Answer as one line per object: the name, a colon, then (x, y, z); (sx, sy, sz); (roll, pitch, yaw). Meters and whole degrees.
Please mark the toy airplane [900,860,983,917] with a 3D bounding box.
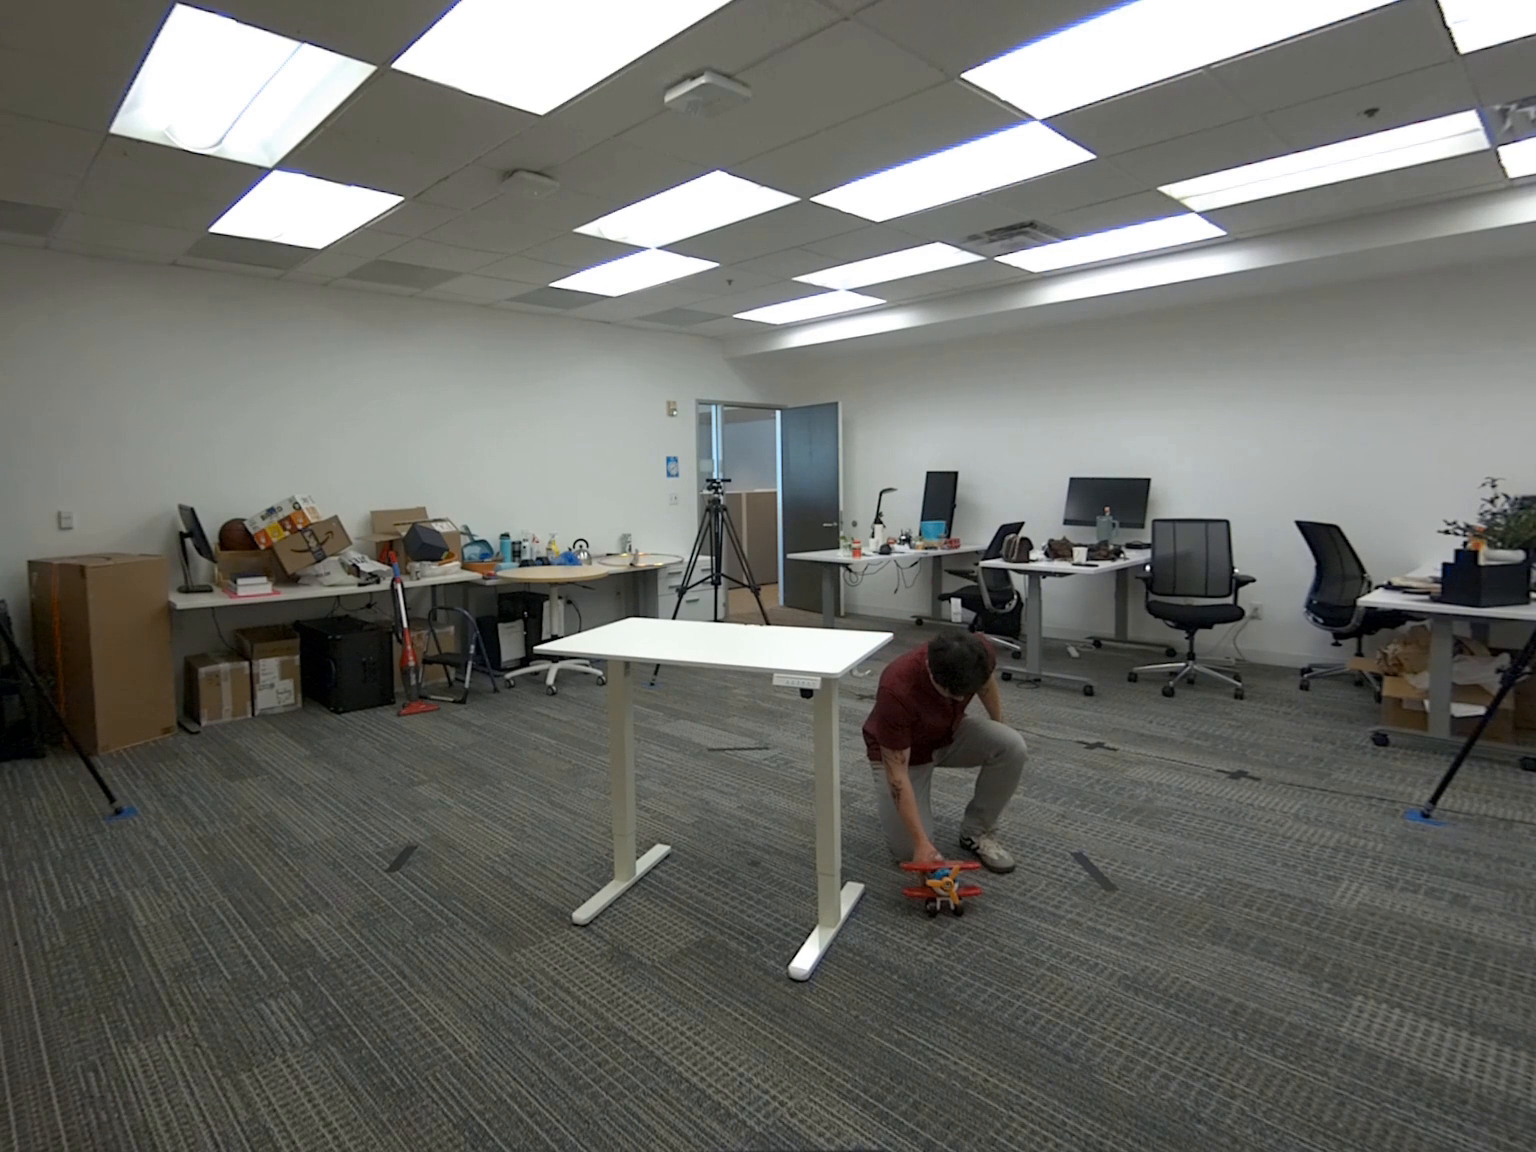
toy airplane: (0.544, 0.999, 2.796); (0.246, 0.155, 0.266); (-6, 8, -28)
